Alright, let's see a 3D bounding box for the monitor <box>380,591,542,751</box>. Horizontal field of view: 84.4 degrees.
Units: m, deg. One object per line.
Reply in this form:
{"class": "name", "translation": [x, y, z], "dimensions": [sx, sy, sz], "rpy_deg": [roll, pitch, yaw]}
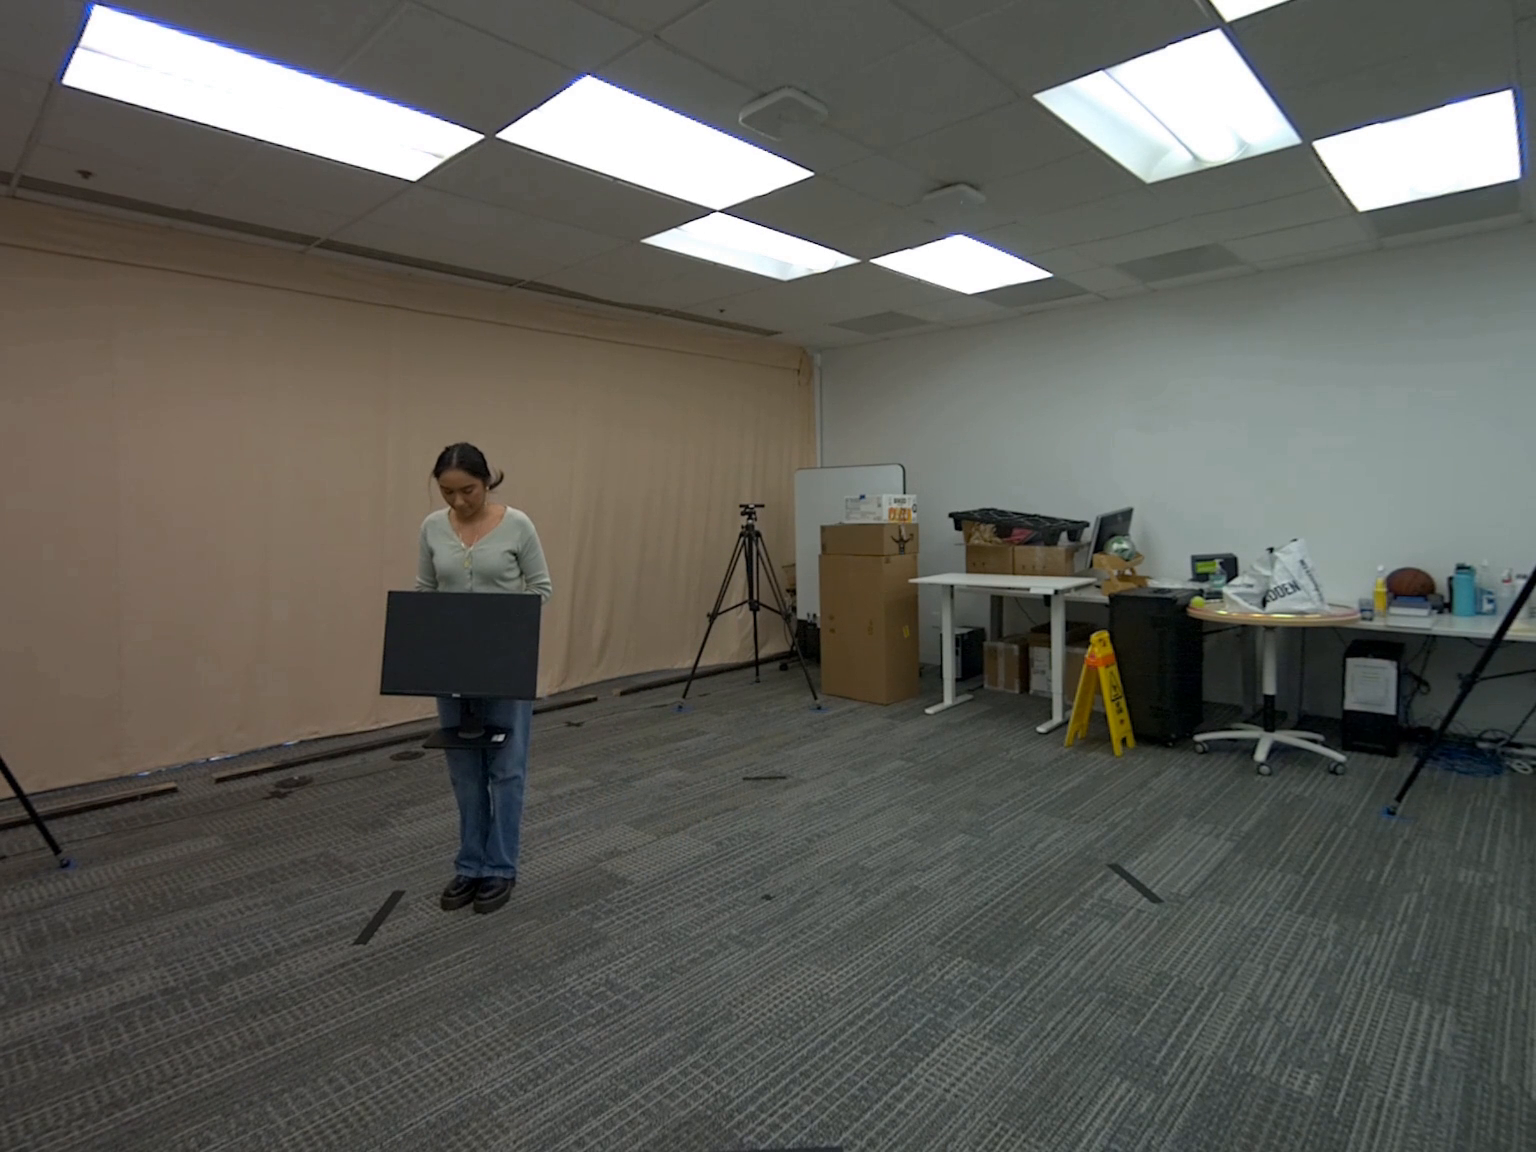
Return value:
{"class": "monitor", "translation": [-1.034, 0.308, 2.870], "dimensions": [0.532, 0.512, 0.175], "rpy_deg": [4, 12, 3]}
